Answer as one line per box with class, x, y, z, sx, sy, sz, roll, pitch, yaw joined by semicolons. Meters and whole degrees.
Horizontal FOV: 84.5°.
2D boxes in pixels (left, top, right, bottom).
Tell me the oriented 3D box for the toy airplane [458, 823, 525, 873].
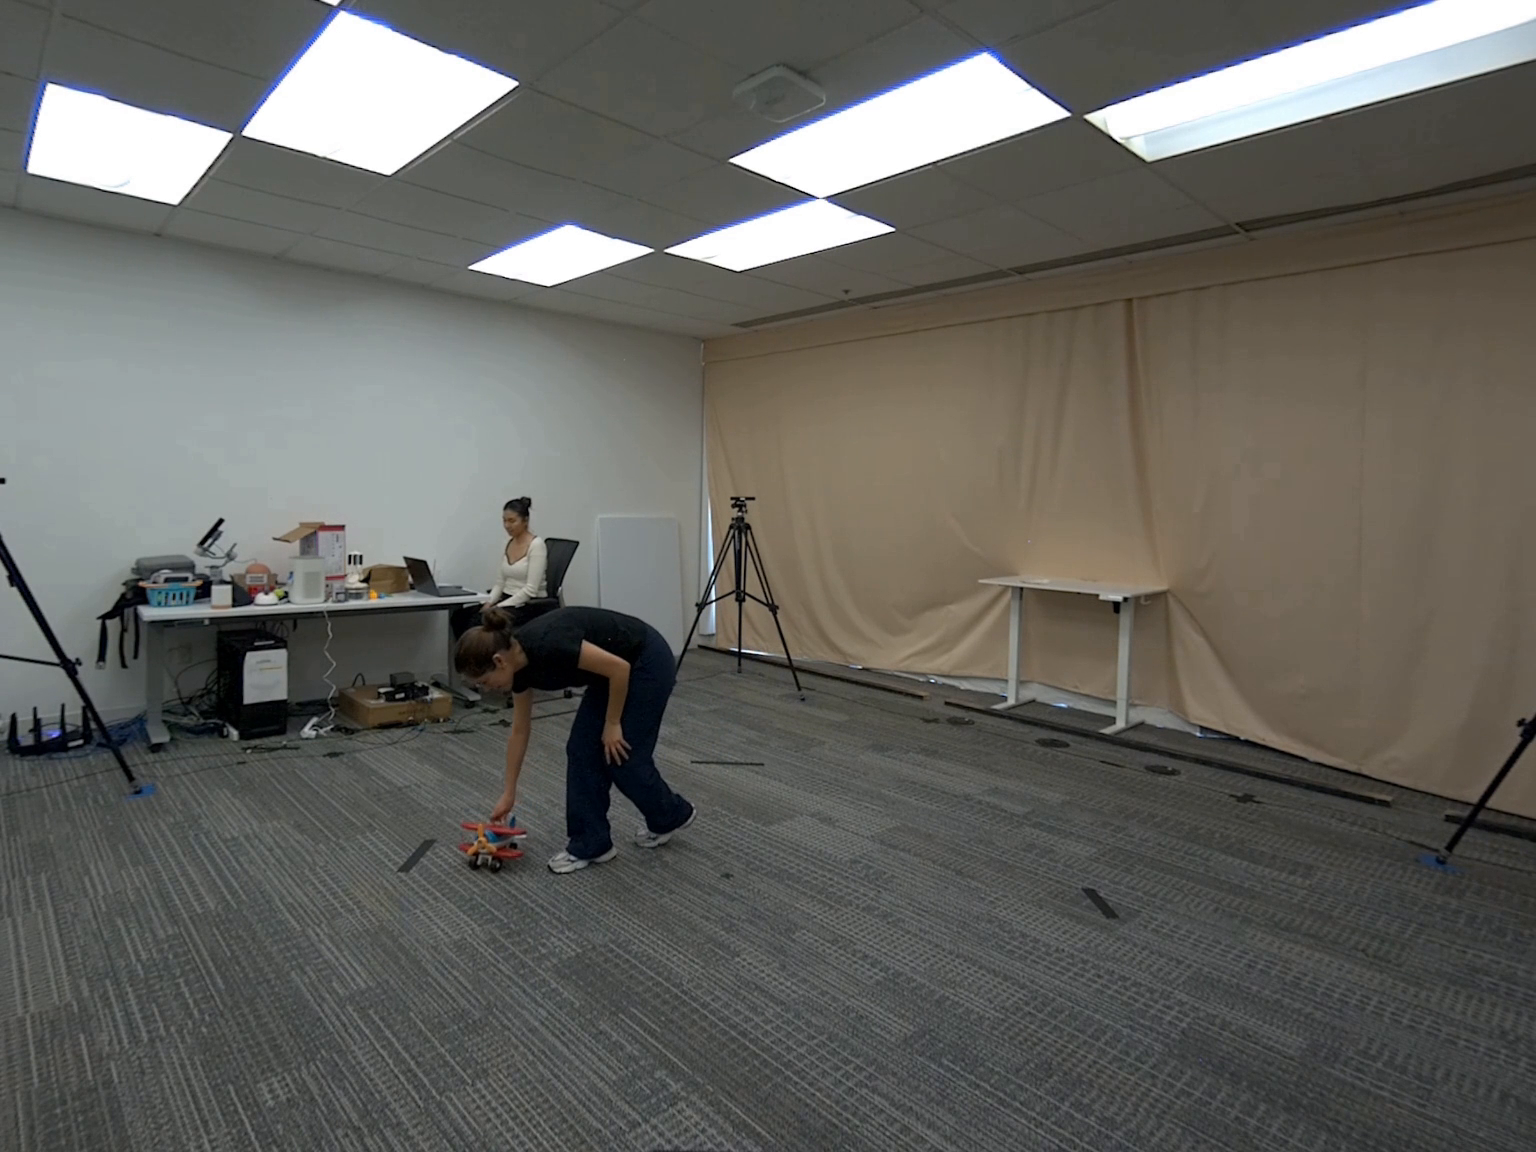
toy airplane;-1.040;1.001;3.176;0.248;0.156;0.263;2;6;-17
